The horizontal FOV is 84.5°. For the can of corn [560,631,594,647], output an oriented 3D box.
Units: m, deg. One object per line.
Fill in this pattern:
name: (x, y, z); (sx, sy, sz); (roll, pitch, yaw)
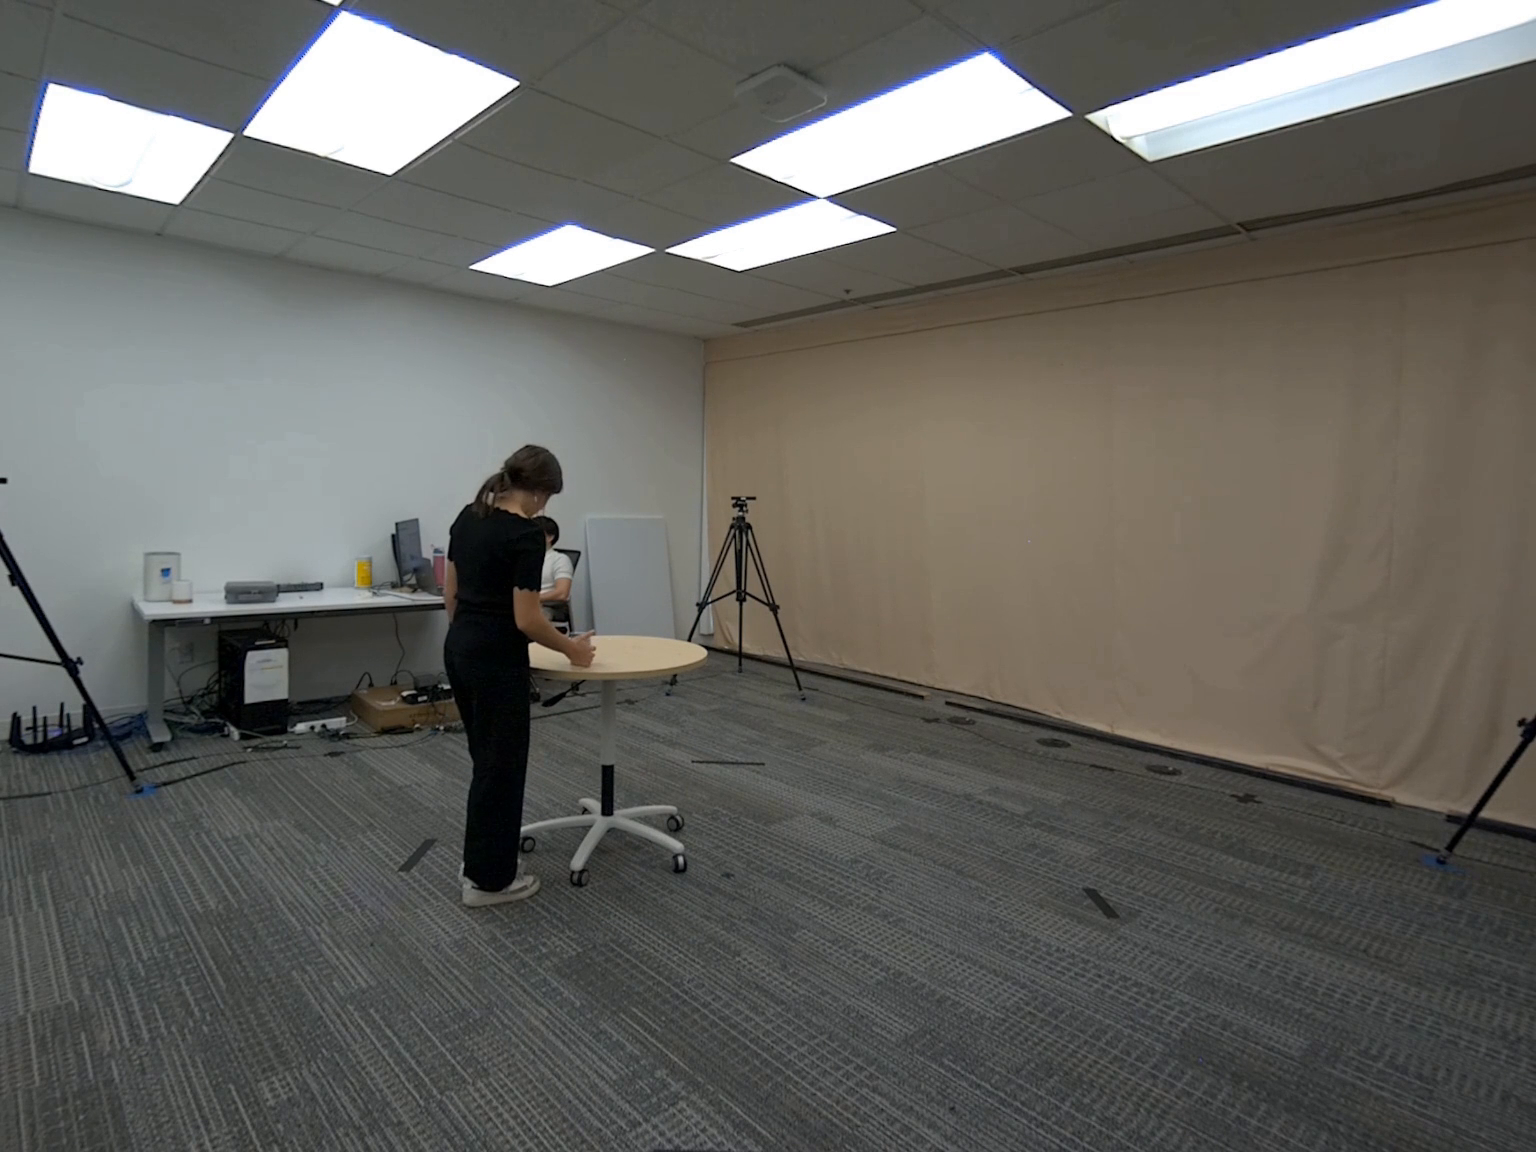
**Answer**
can of corn: (-0.680, 0.265, 3.023); (0.074, 0.110, 0.074); (0, 6, -1)
